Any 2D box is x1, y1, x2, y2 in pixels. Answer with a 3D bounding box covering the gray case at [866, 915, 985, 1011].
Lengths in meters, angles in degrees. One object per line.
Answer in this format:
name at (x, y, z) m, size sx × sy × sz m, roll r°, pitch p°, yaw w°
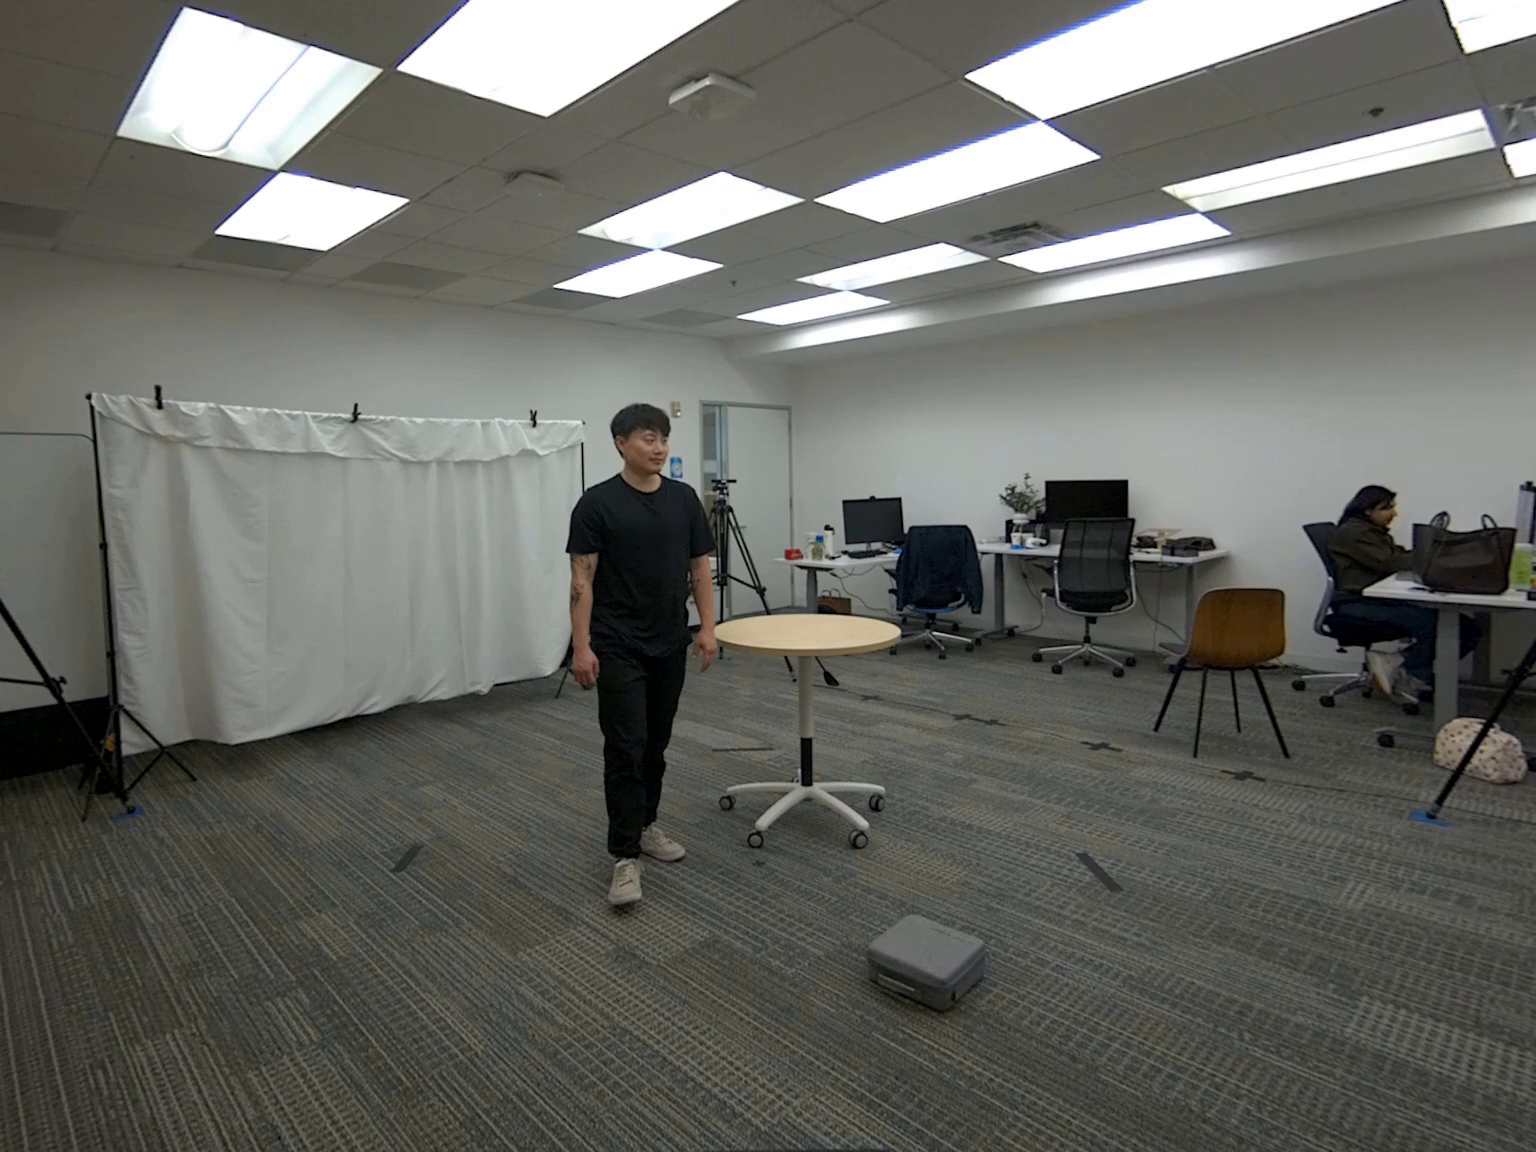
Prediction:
gray case at (0.451, 1.070, 2.370) m, size 0.265 × 0.104 × 0.254 m, roll 5°, pitch 10°, yaw 41°
